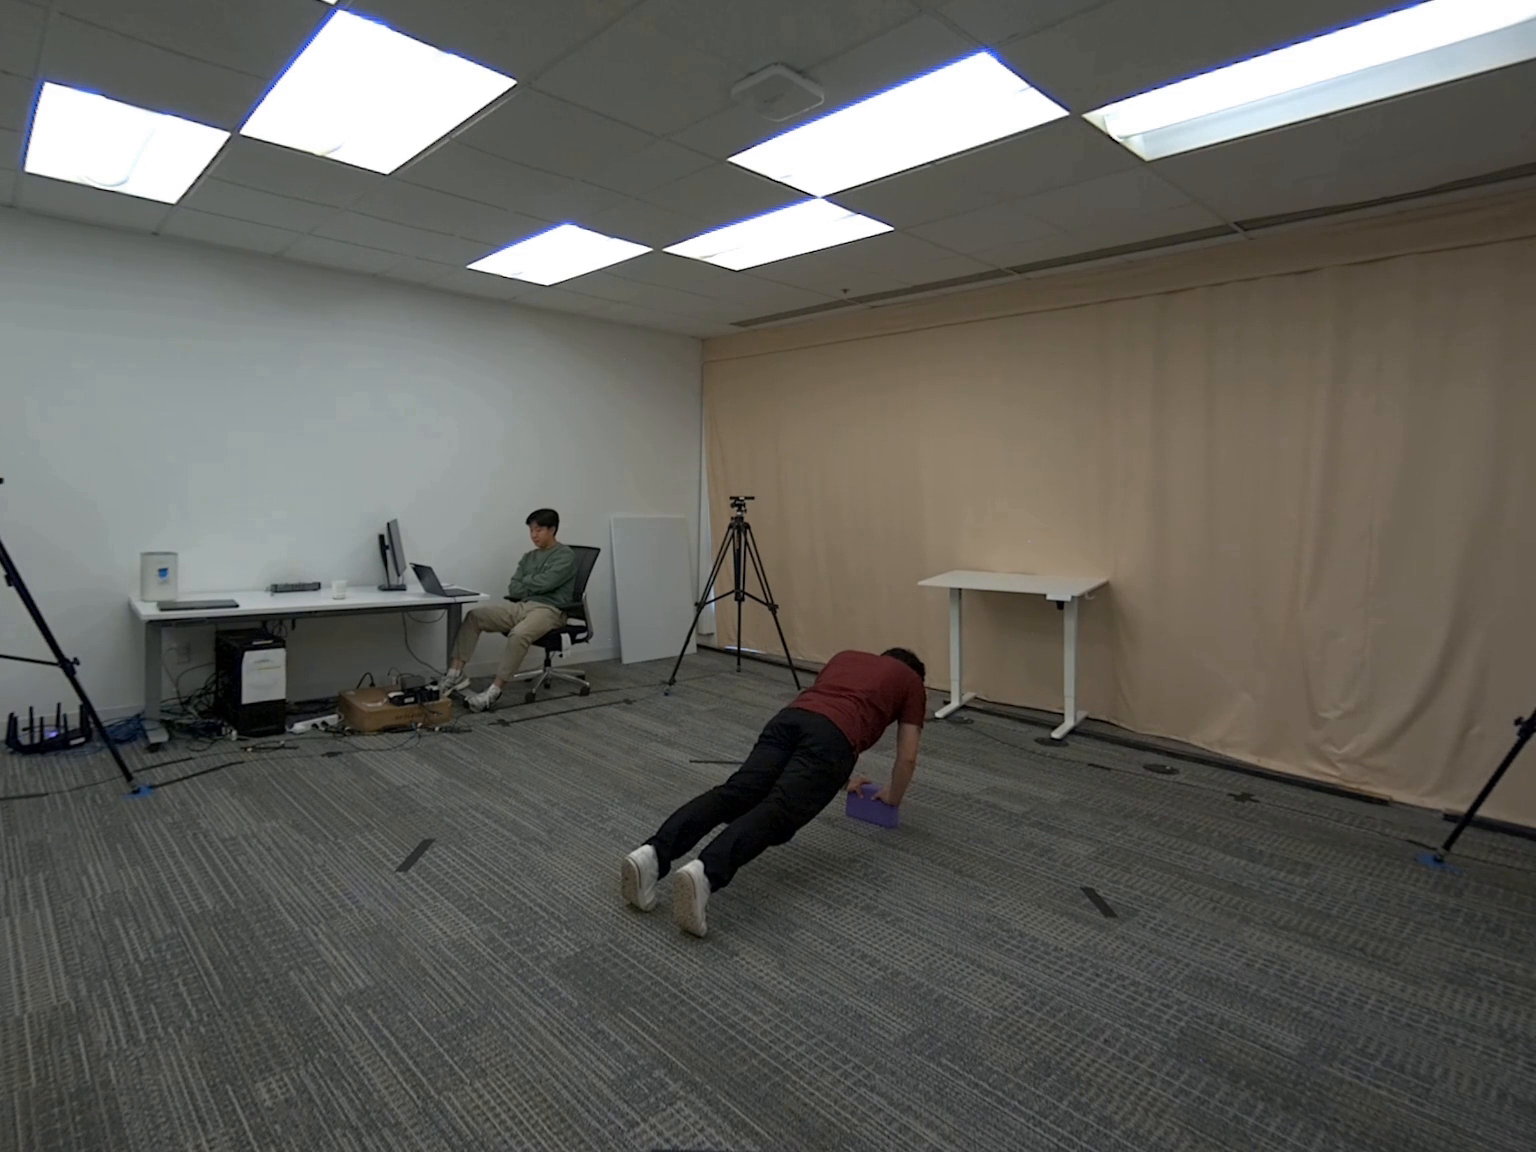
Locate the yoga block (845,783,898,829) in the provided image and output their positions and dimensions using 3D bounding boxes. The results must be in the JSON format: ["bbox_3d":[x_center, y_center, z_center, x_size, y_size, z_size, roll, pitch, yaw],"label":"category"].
[{"bbox_3d":[0.446,1.001,3.695,0.235,0.149,0.074,3,-4,39],"label":"yoga block"}]
